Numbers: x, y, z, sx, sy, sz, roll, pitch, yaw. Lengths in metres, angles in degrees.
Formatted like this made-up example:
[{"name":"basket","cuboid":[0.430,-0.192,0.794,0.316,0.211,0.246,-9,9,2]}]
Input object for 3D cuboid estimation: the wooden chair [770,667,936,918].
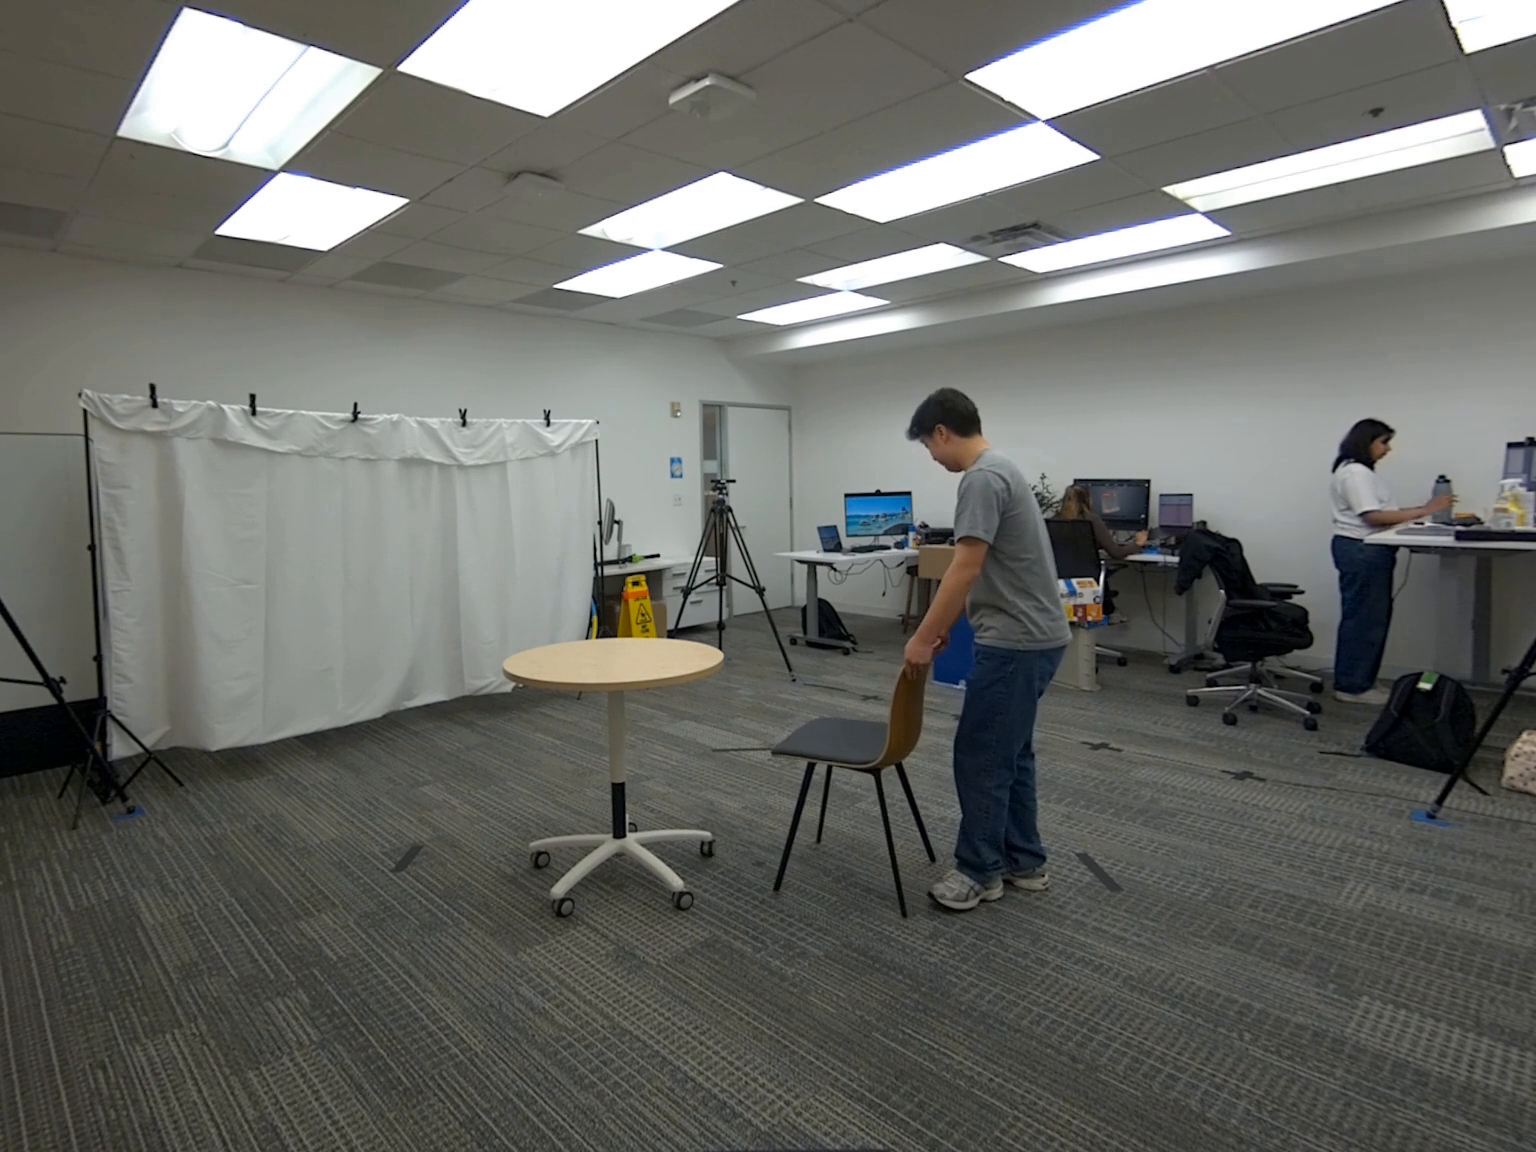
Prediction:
[{"name":"wooden chair","cuboid":[0.298,0.625,2.966,0.536,0.873,0.469,6,7,25]}]
